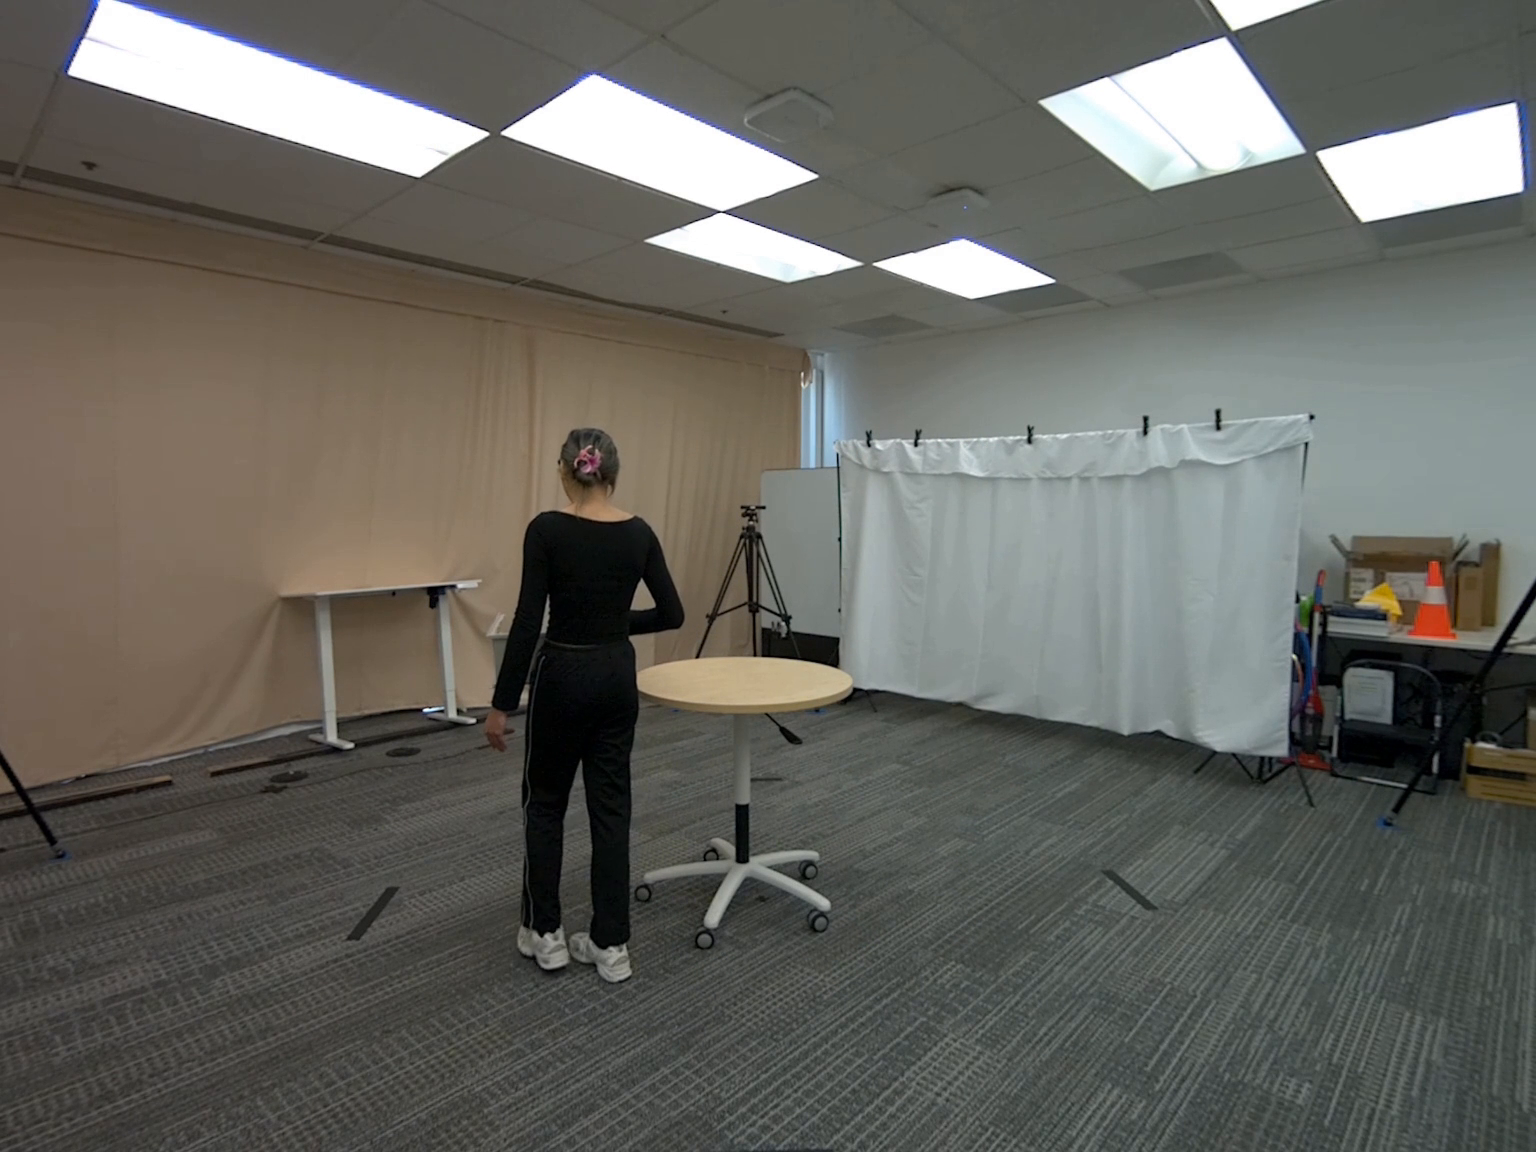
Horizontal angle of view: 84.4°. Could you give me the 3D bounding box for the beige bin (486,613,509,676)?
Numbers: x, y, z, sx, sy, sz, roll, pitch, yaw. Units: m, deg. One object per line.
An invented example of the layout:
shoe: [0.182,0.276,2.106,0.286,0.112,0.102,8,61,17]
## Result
beige bin: [-0.718,0.241,2.862,0.418,0.188,0.383,-2,11,-9]
